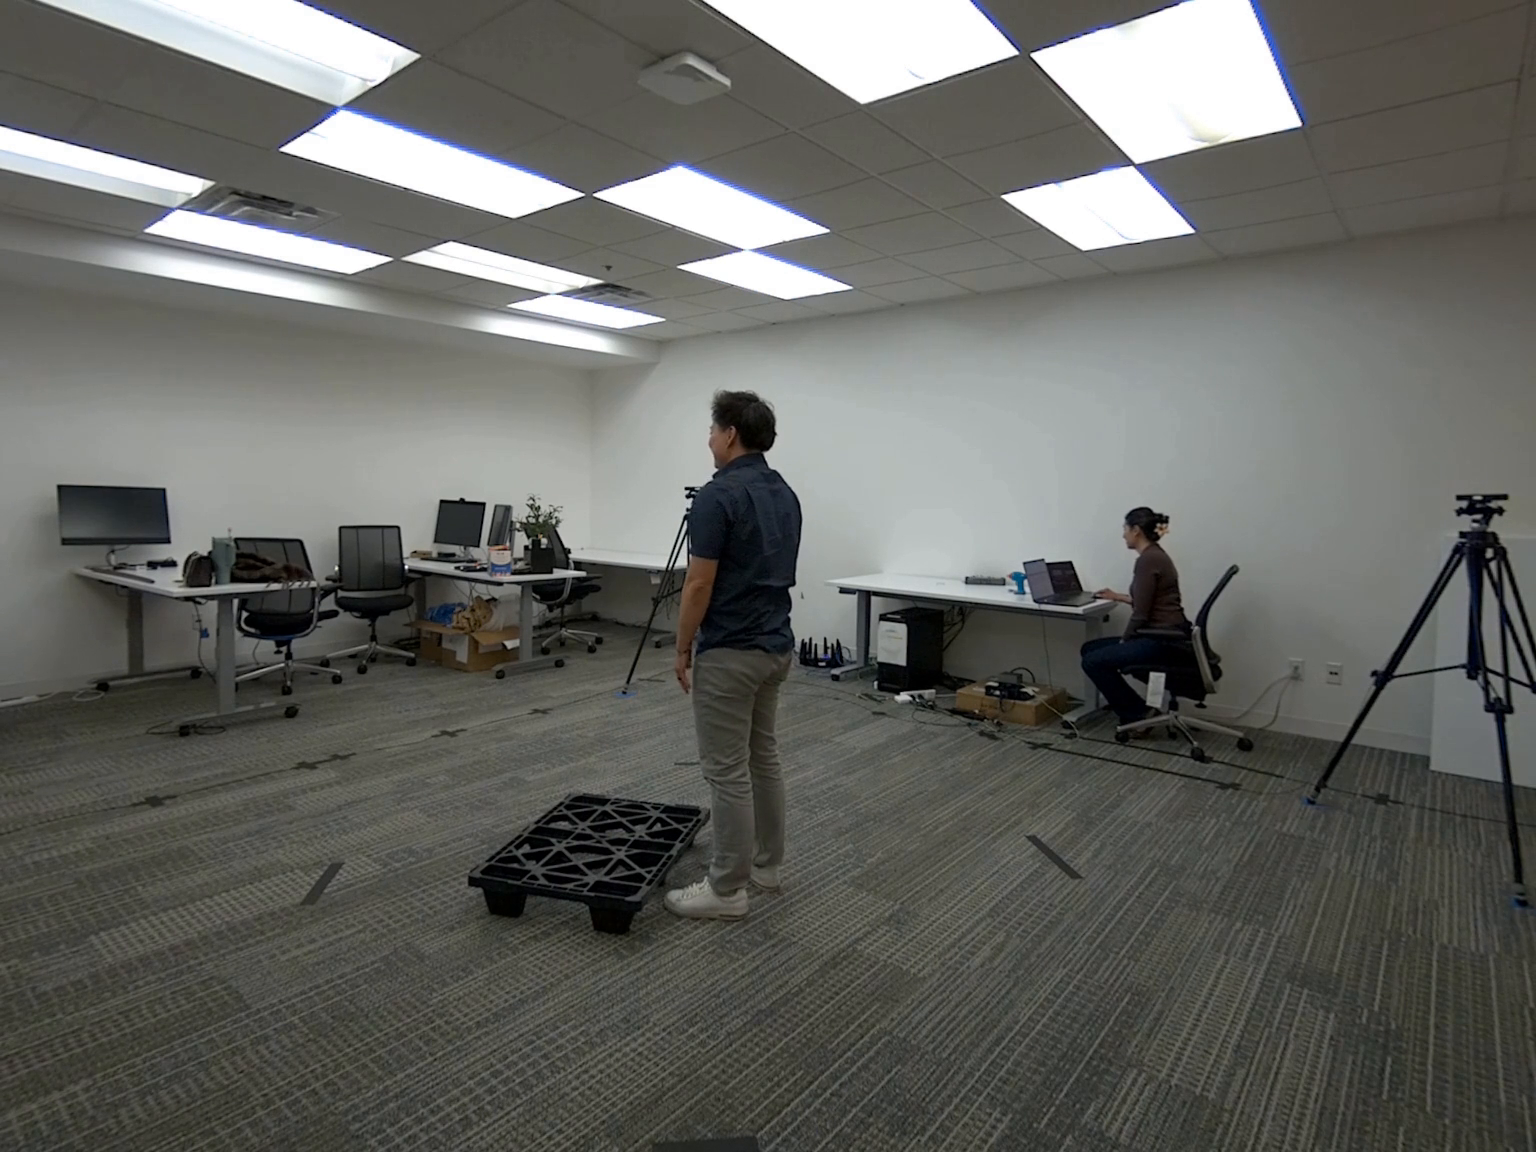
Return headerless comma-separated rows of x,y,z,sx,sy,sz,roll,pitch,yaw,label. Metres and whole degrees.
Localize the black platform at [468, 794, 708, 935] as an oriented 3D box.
-0.604,0.999,3.041,0.615,0.143,0.797,2,6,13,black platform
